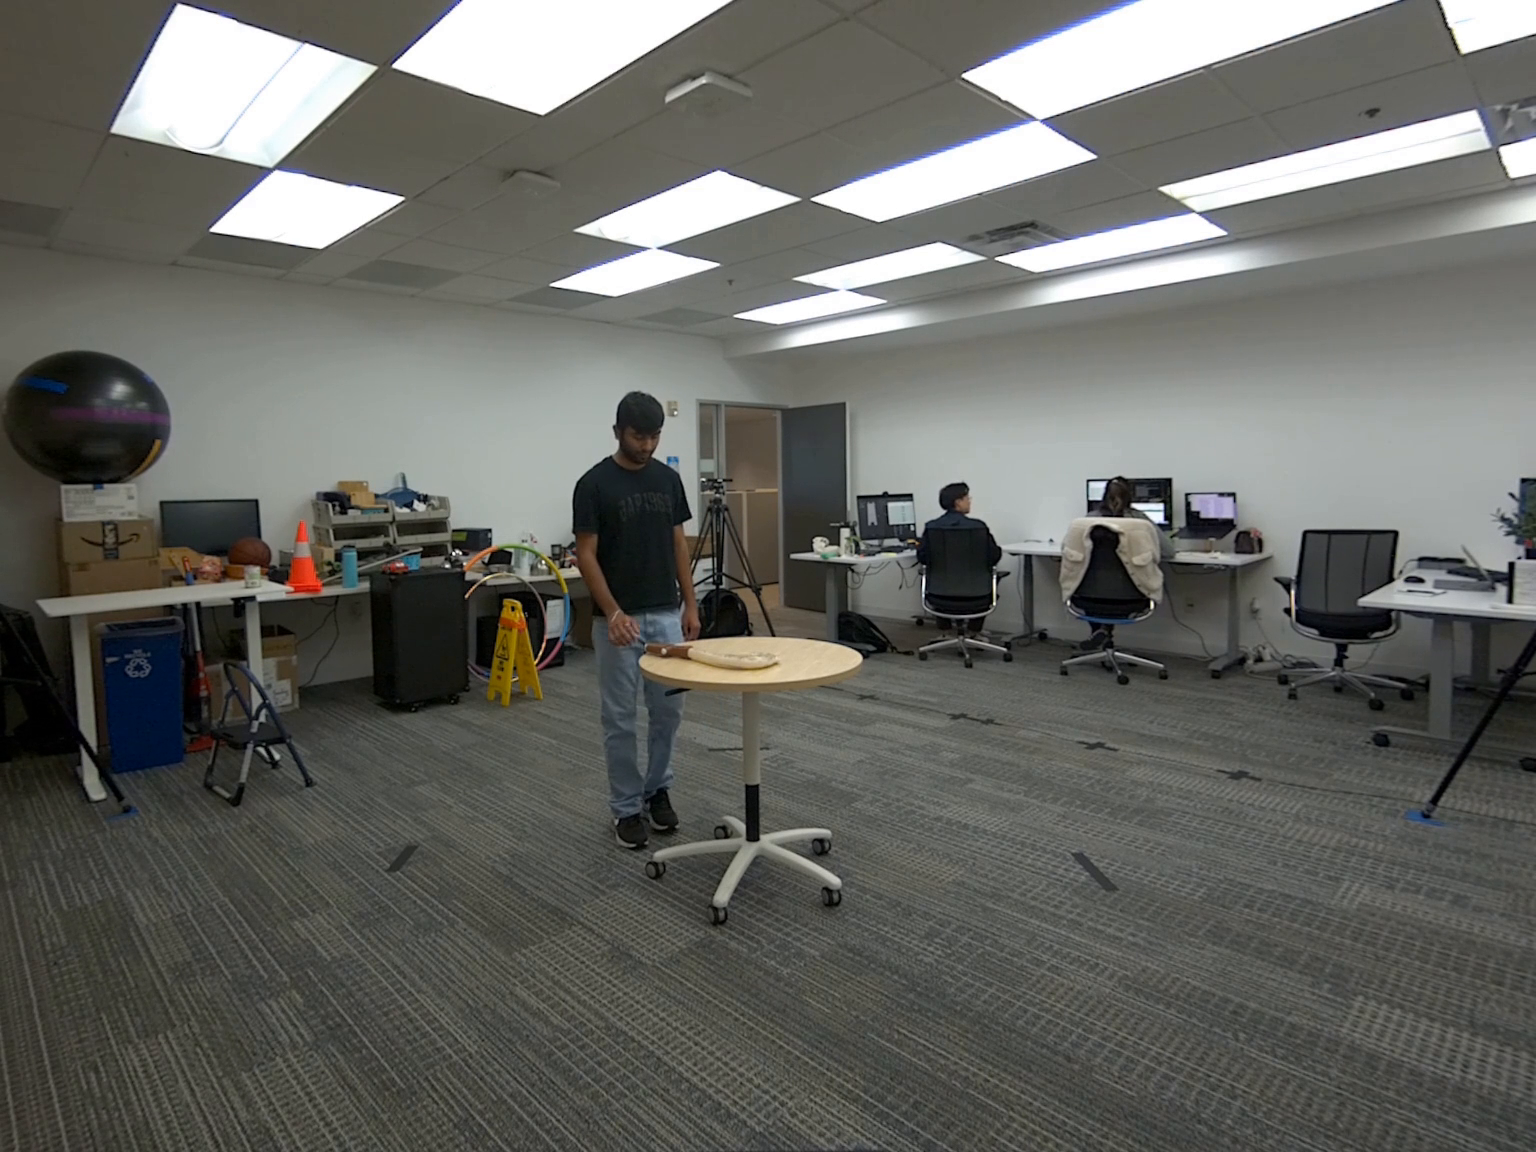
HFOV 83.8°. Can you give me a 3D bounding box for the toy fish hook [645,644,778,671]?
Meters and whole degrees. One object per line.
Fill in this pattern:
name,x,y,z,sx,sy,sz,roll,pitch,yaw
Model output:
toy fish hook,-0.198,0.272,2.921,0.521,0.048,0.218,4,2,35
